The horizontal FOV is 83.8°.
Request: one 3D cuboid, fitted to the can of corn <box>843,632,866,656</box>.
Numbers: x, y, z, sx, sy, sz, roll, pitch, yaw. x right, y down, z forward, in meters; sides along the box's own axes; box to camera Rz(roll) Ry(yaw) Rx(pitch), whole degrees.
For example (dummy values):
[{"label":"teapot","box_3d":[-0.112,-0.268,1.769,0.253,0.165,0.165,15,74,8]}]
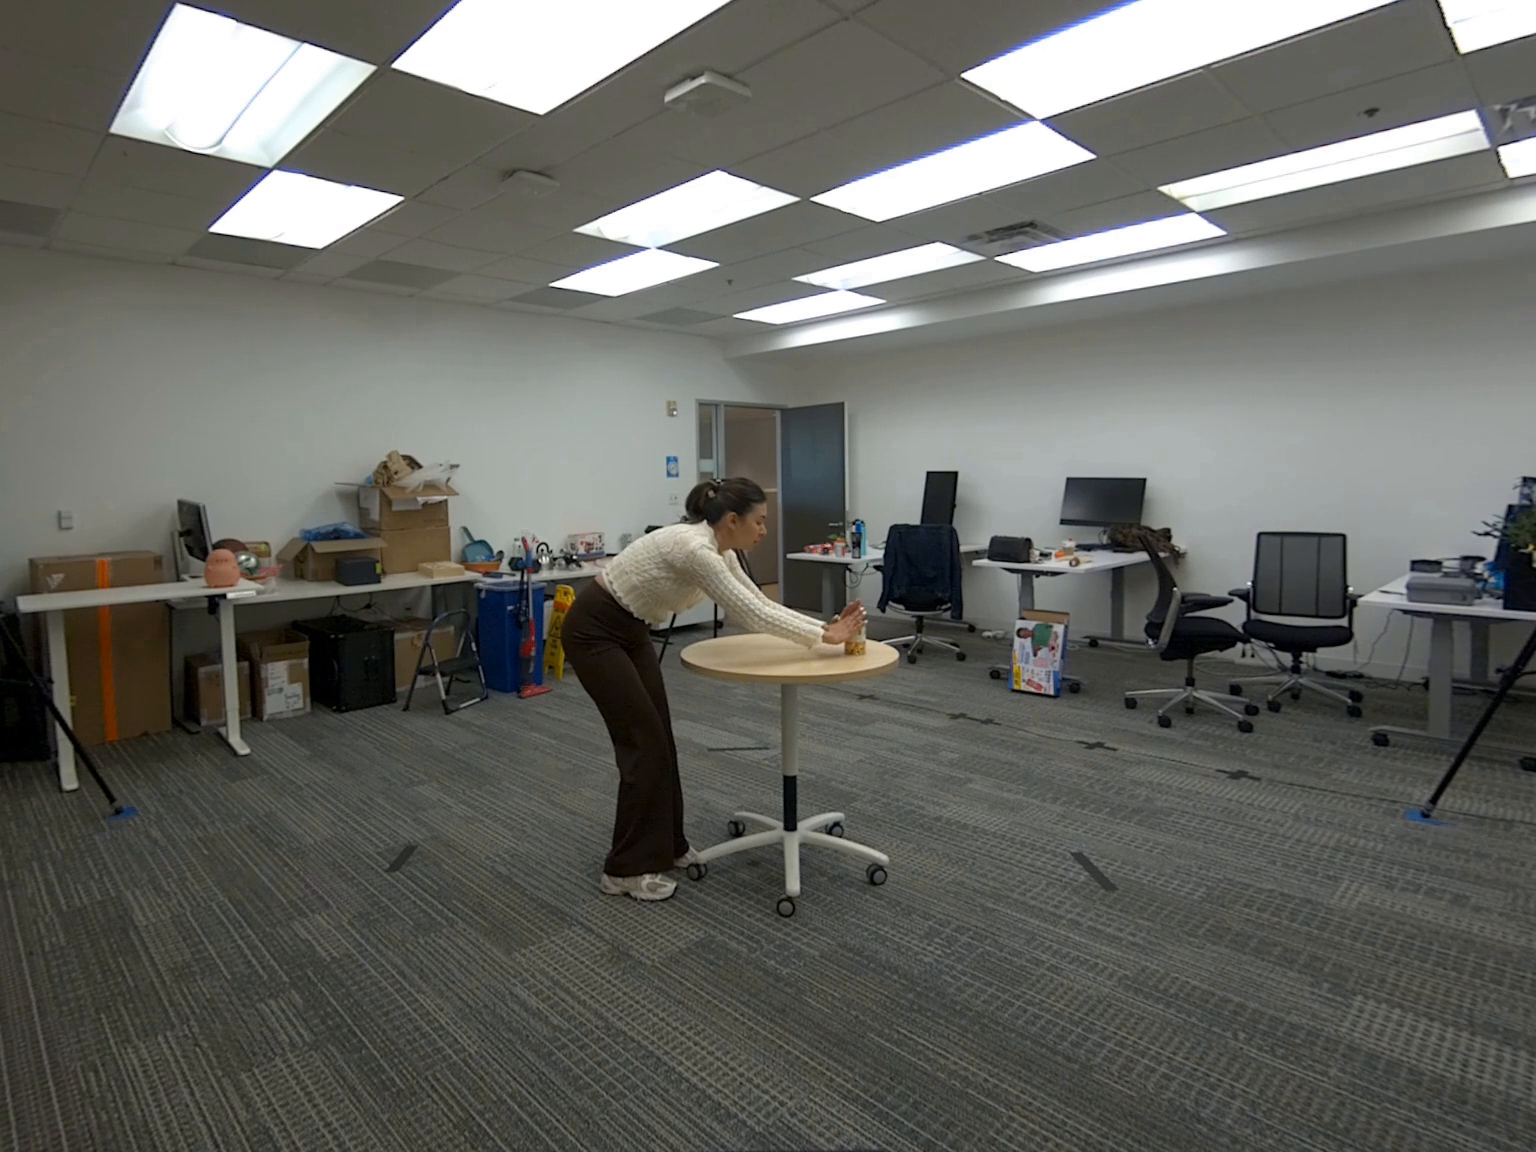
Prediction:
[{"label":"can of corn","box_3d":[0.300,0.214,2.970,0.074,0.110,0.075,0,6,-2]}]
